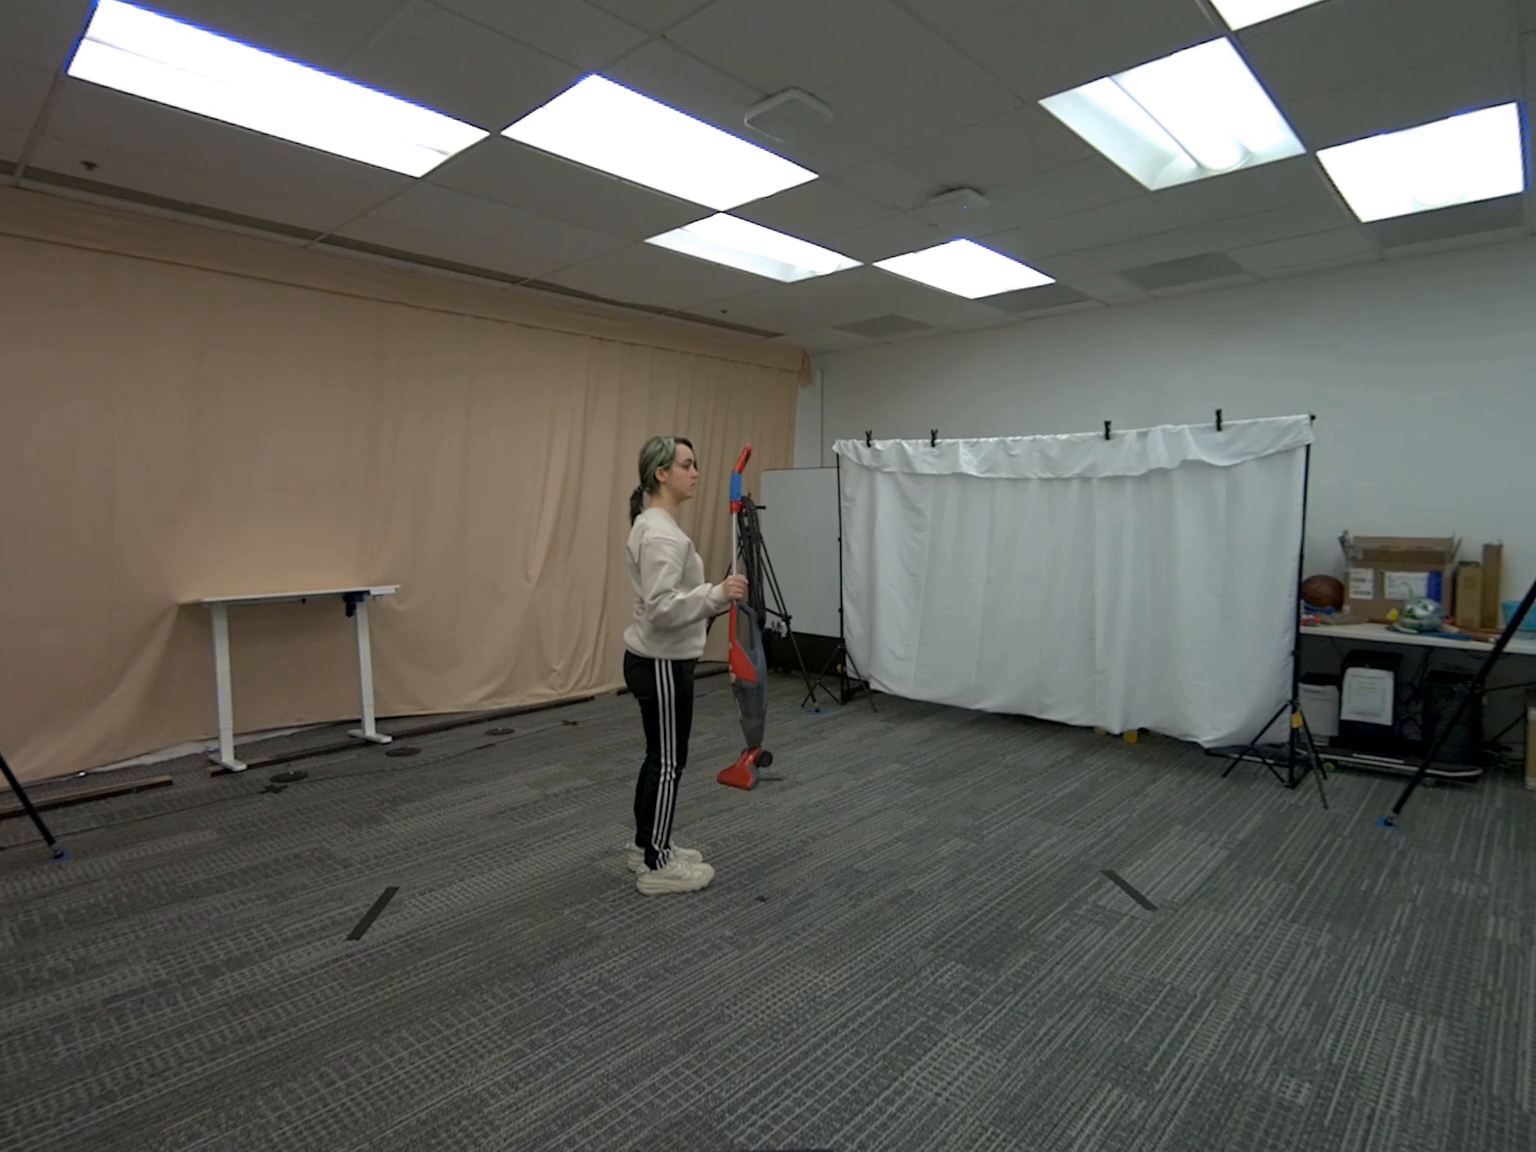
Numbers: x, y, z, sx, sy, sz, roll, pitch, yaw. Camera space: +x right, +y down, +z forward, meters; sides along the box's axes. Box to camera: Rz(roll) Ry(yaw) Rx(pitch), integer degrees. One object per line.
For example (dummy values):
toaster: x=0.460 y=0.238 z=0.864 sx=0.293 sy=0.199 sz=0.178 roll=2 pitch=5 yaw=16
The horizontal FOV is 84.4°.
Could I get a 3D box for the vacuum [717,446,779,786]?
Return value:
vacuum: x=-0.061 y=0.097 z=2.739 sx=0.141 sy=1.056 sz=0.256 roll=4 pitch=-10 yaw=-22
